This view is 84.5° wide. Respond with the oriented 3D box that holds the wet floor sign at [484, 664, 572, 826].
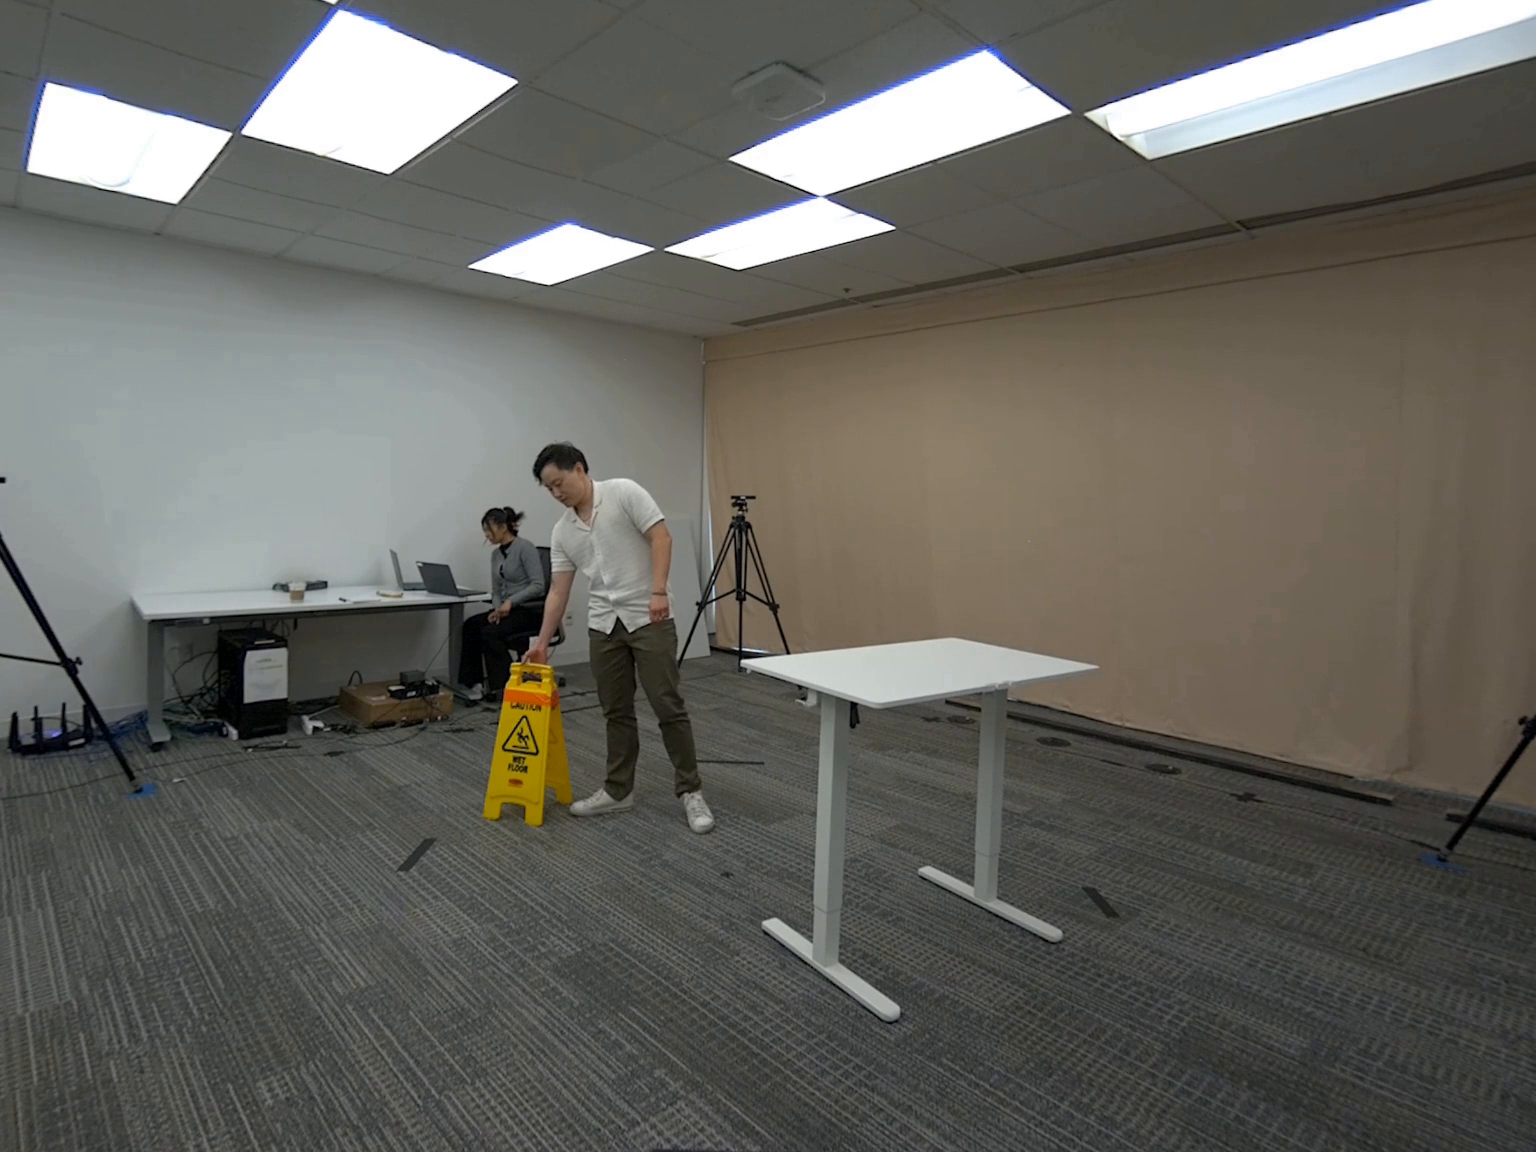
[{"bbox_3d":[-1.047,0.697,3.685,0.286,0.644,0.287,4,3,14],"label":"wet floor sign"}]
